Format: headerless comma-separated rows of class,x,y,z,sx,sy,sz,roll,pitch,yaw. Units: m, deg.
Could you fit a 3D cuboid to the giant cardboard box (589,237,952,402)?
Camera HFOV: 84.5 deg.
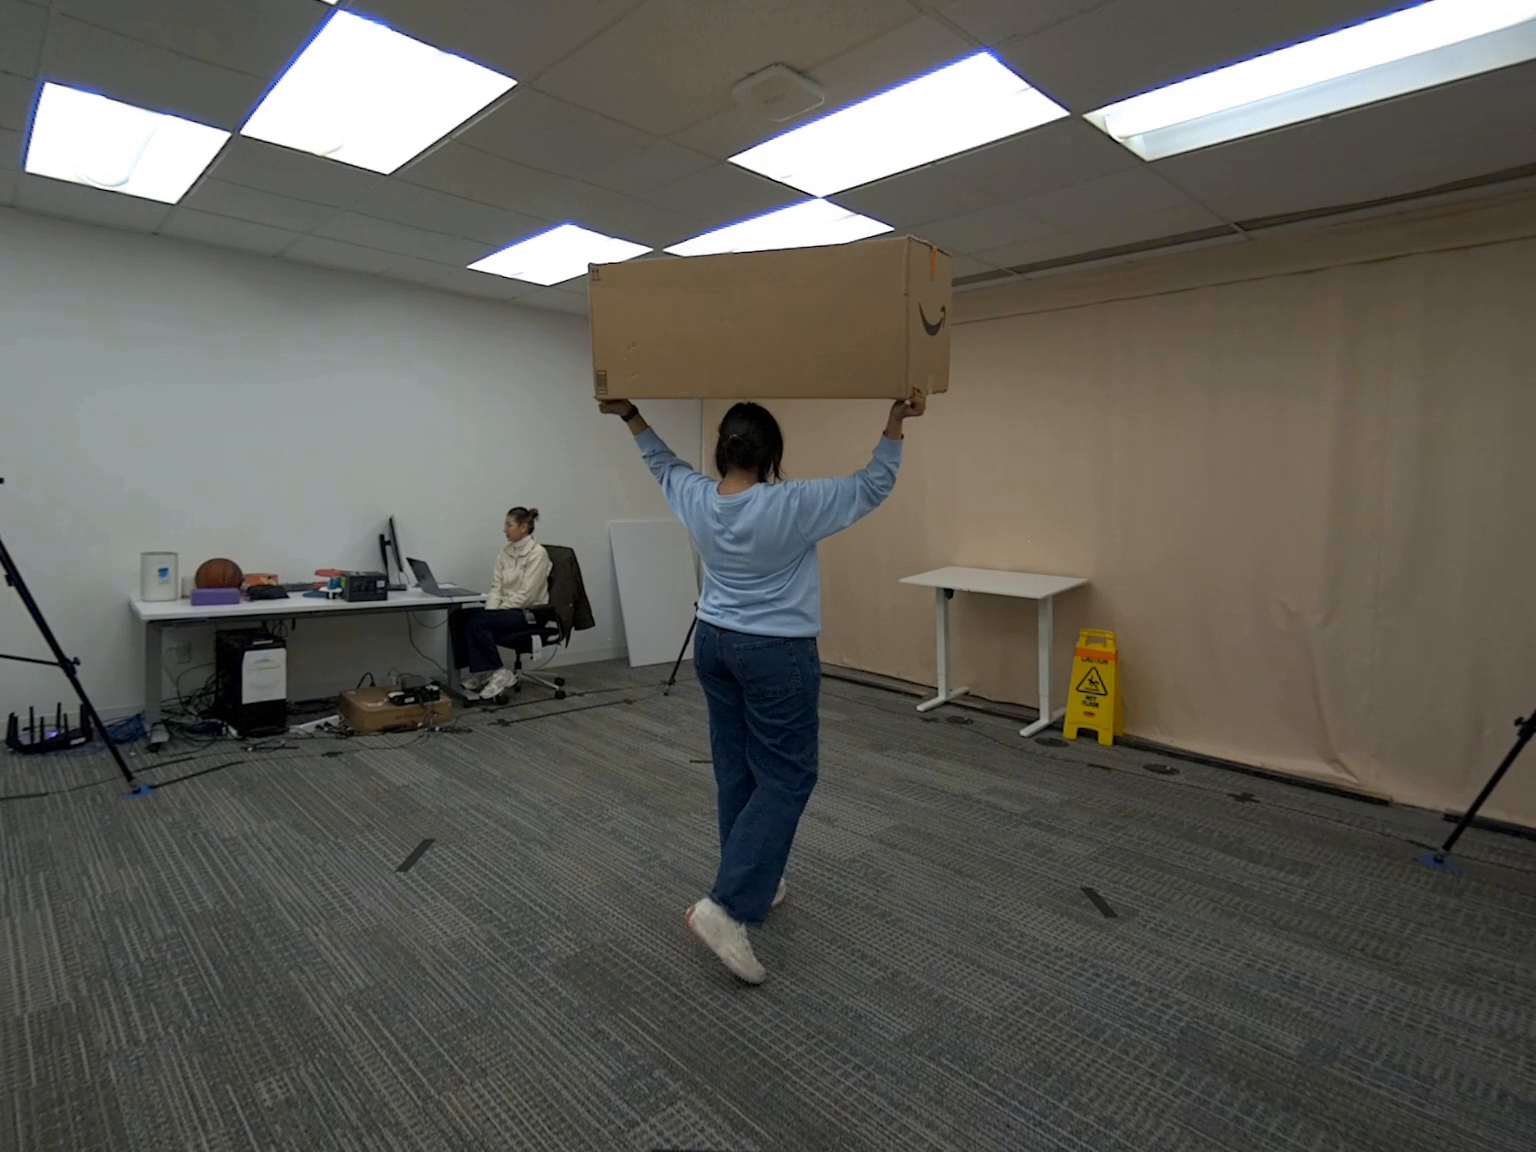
giant cardboard box,0.013,-0.792,2.695,1.046,0.422,0.572,5,15,24
